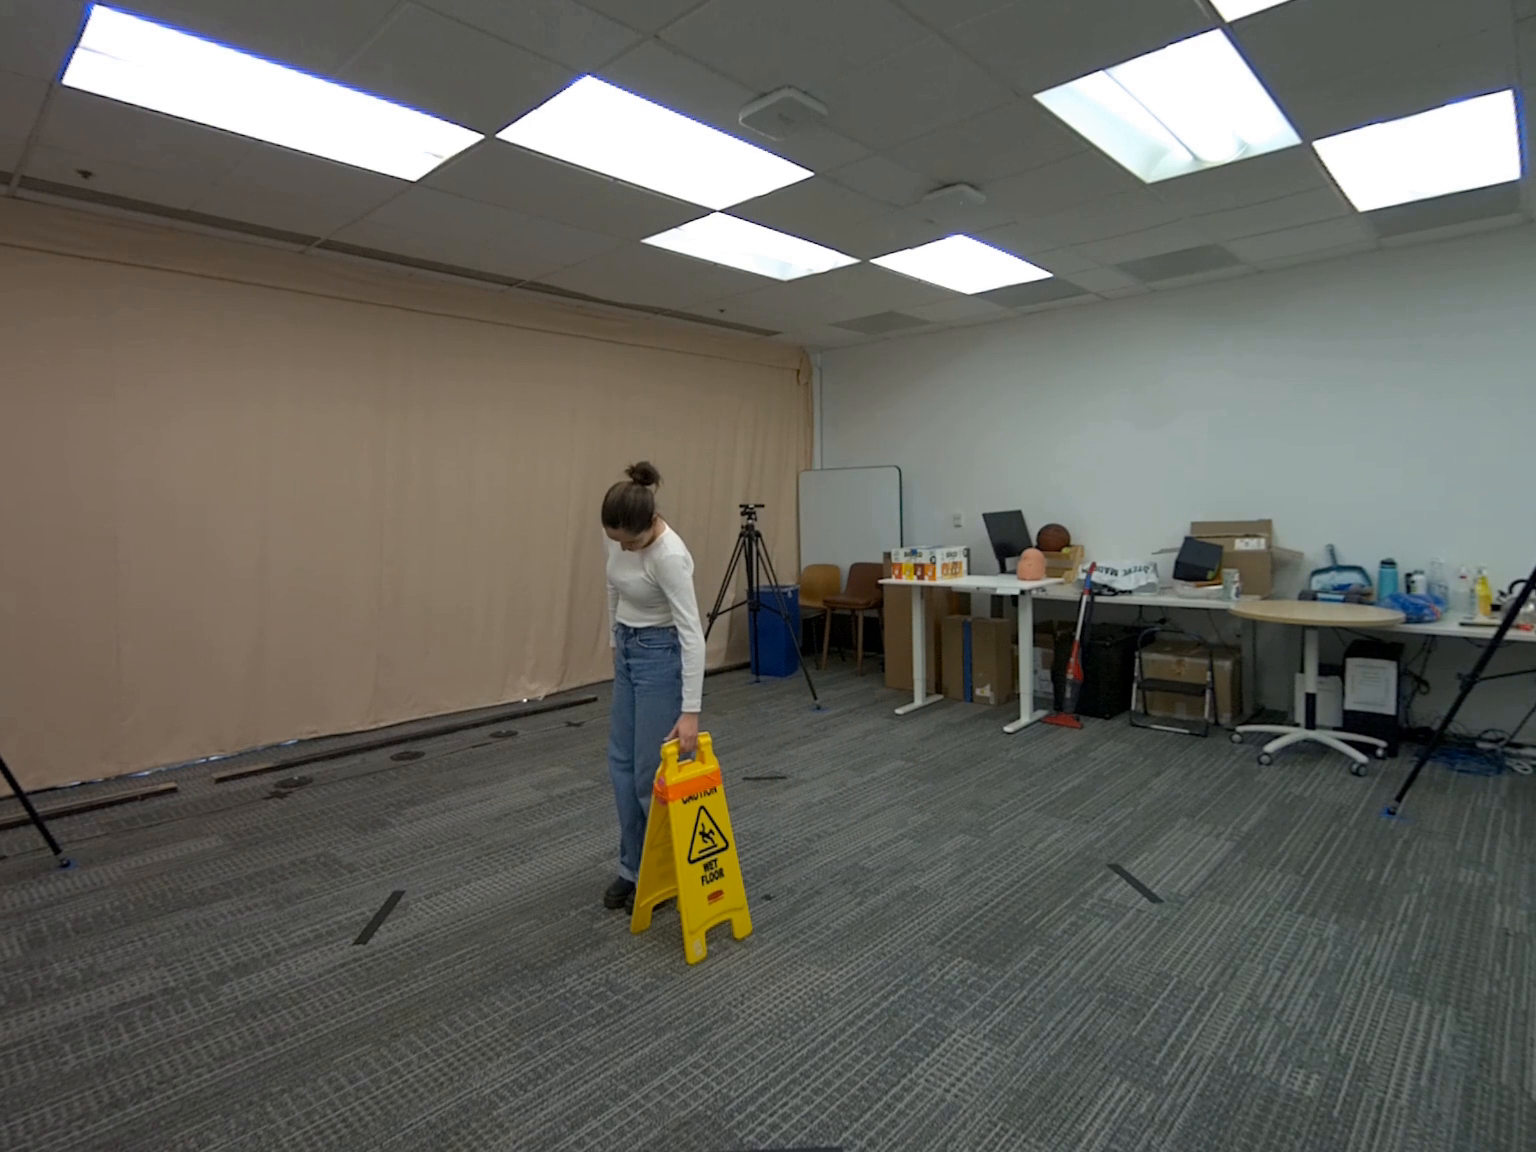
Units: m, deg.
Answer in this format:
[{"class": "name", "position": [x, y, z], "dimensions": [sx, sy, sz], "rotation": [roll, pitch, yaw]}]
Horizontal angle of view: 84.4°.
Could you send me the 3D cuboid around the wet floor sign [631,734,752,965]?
[{"class": "wet floor sign", "position": [-0.257, 0.843, 2.730], "dimensions": [0.299, 0.645, 0.273], "rotation": [1, 4, 43]}]
